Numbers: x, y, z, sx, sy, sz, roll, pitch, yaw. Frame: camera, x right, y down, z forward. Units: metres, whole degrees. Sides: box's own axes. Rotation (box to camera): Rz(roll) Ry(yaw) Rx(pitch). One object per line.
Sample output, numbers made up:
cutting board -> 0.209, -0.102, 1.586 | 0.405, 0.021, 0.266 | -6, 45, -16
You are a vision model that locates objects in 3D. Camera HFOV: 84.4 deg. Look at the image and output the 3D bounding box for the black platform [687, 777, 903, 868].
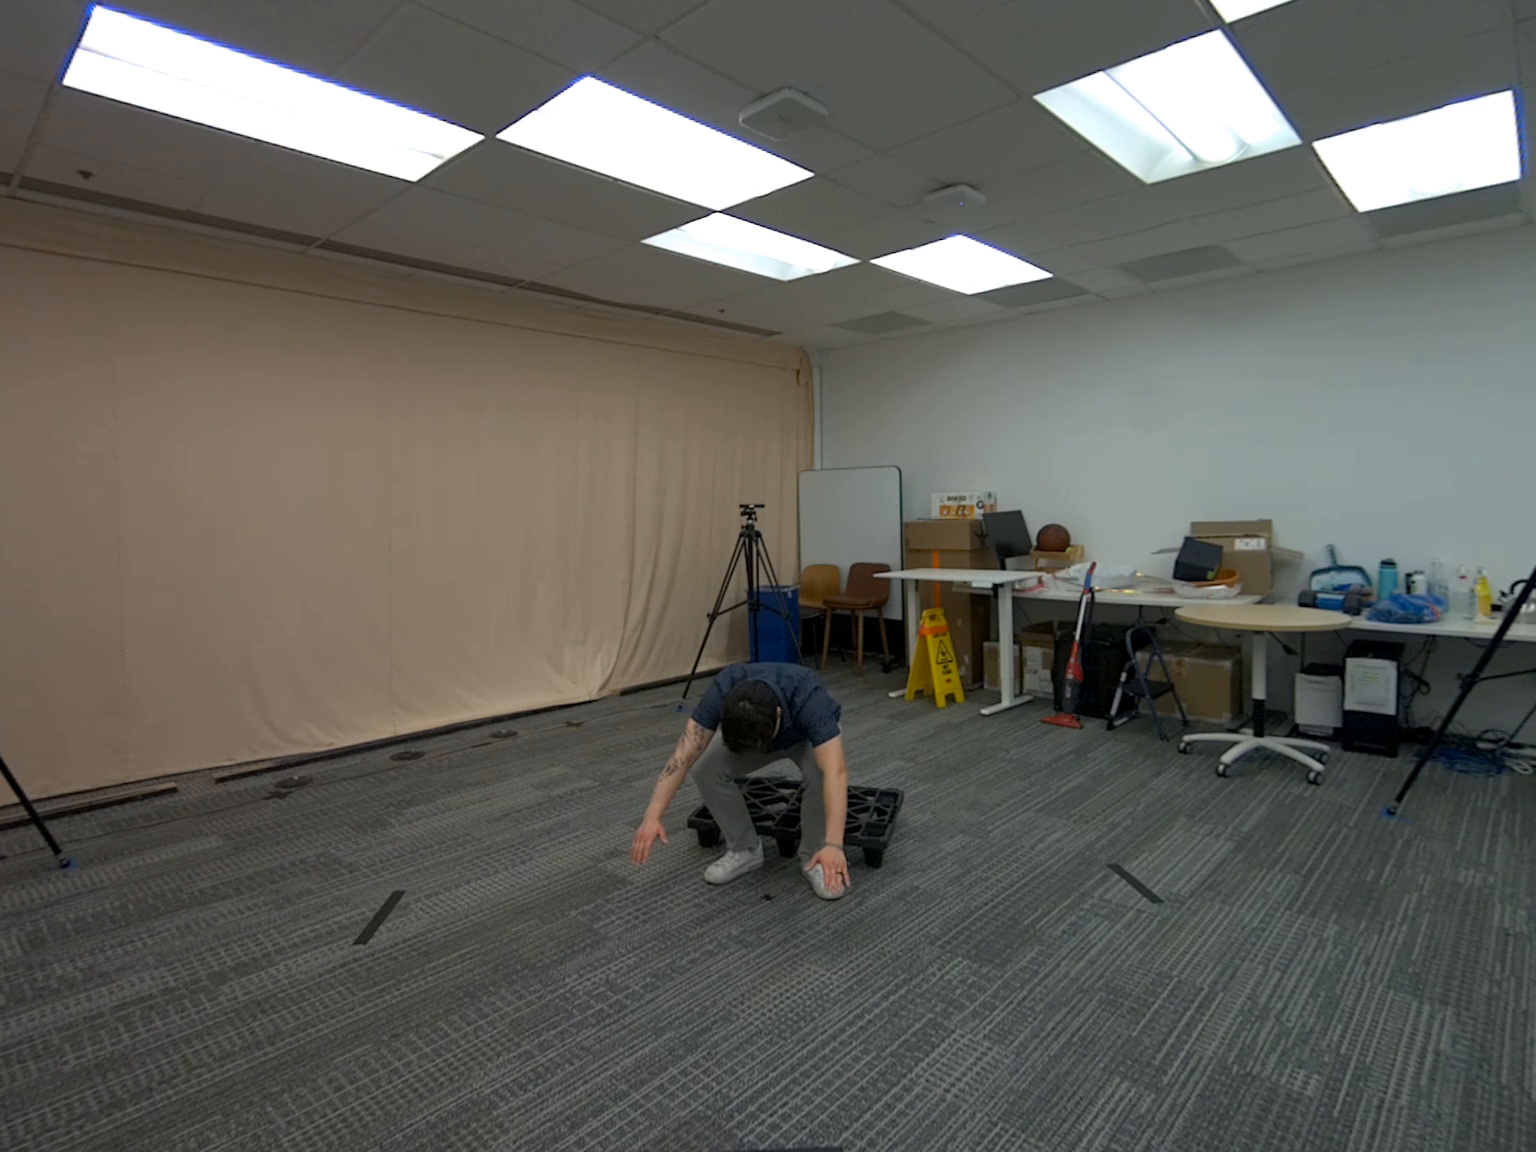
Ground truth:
black platform -> 0.142, 1.024, 3.534 | 0.821, 0.143, 0.595 | 0, 5, 17
